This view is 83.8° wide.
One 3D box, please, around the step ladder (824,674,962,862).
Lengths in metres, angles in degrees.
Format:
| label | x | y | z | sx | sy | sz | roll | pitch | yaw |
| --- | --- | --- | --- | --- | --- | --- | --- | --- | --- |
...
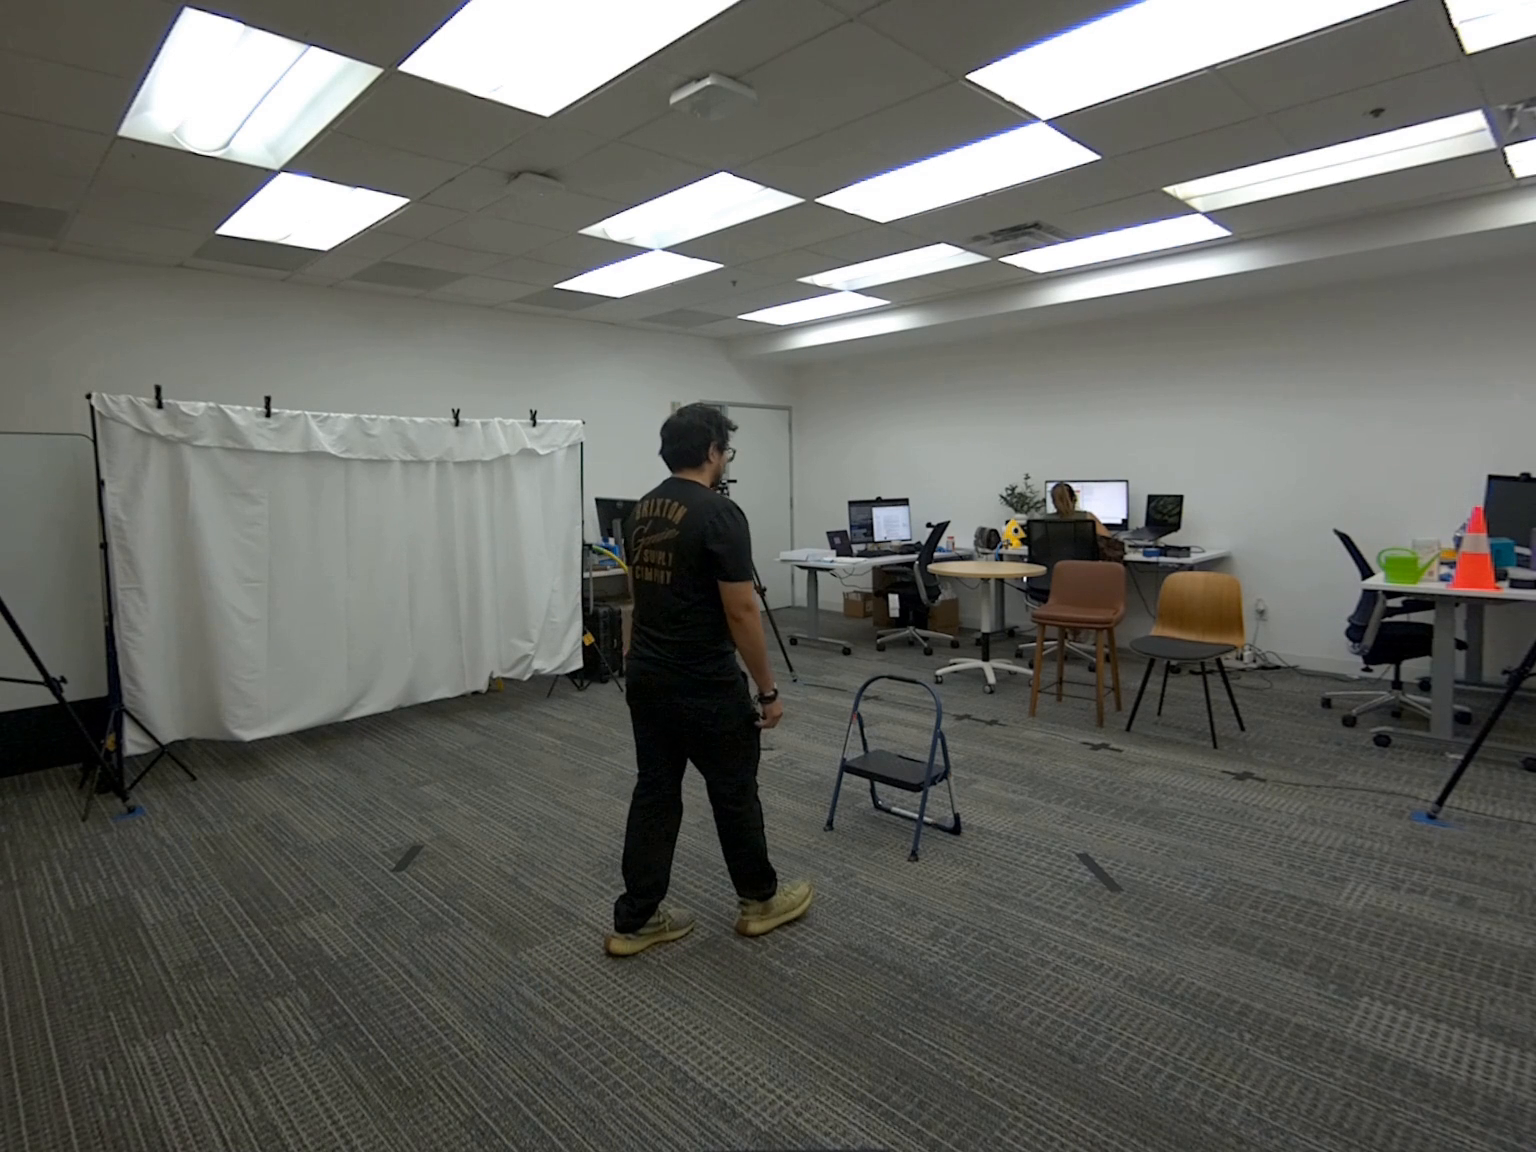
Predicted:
| label | x | y | z | sx | sy | sz | roll | pitch | yaw |
| --- | --- | --- | --- | --- | --- | --- | --- | --- | --- |
| step ladder | 0.491 | 0.708 | 3.353 | 0.444 | 0.604 | 0.340 | 4 | 6 | 44 |
